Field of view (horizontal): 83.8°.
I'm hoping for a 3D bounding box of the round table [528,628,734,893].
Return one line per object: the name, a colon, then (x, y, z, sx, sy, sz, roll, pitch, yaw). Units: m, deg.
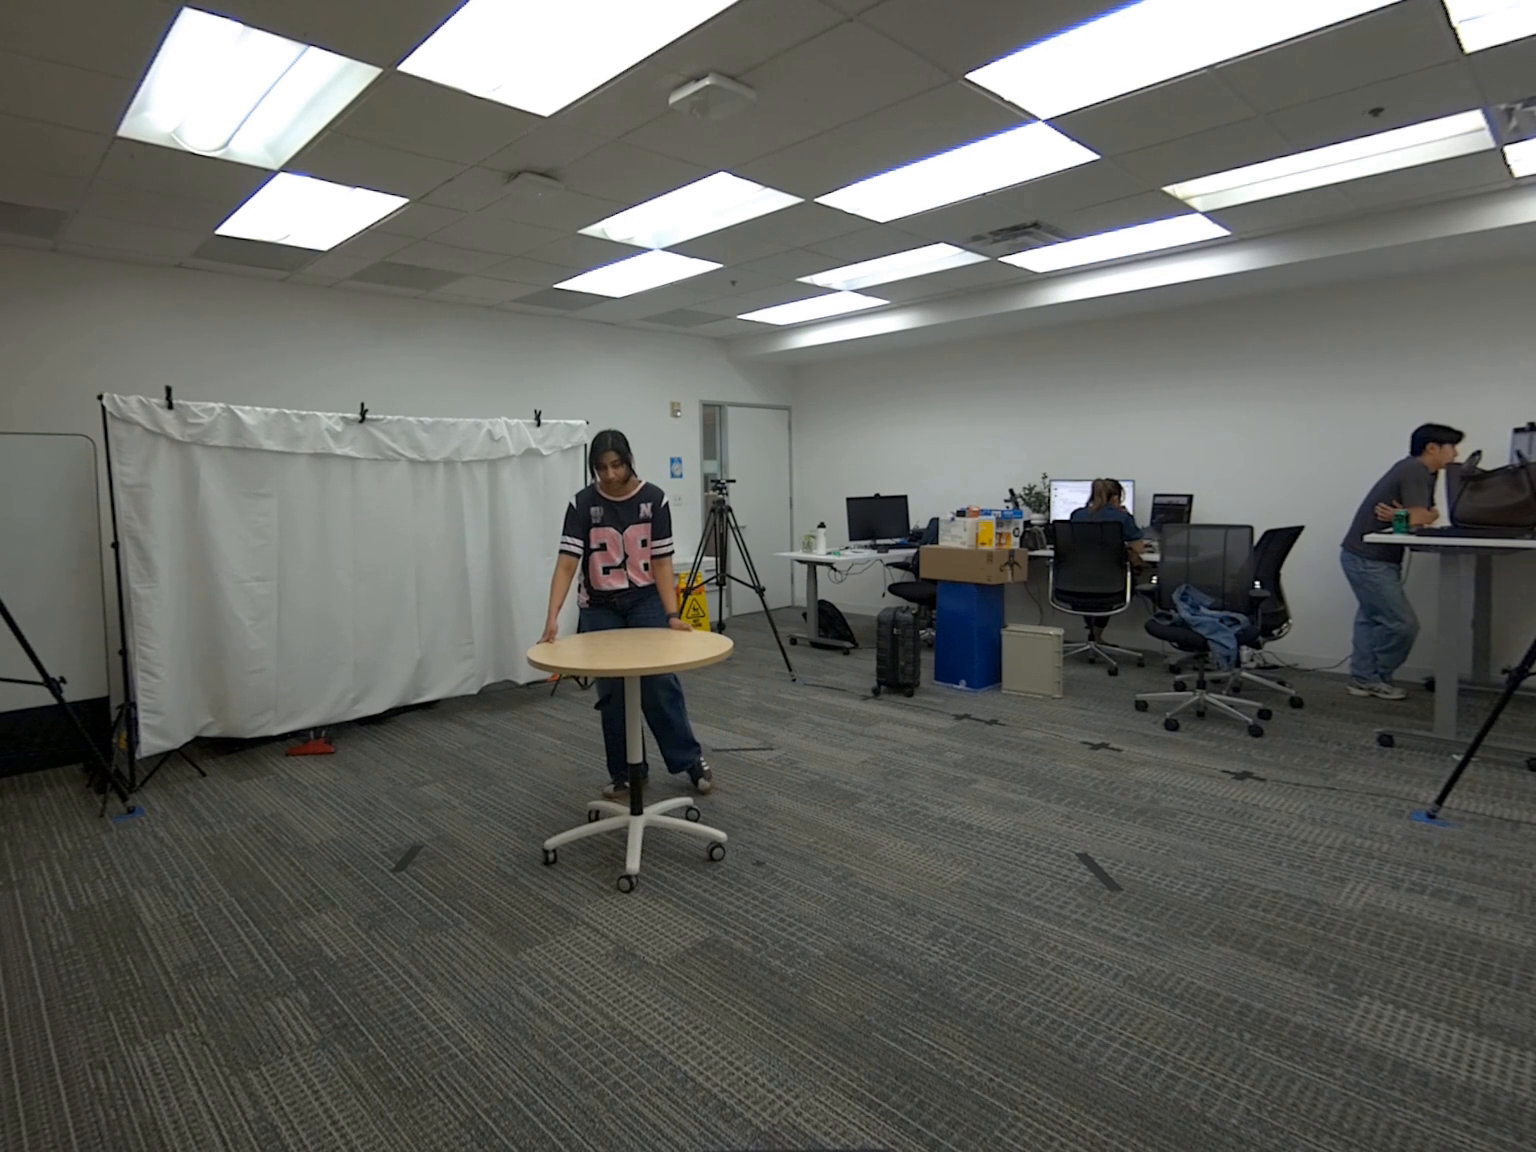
round table: (-0.491, 0.651, 3.232, 0.784, 0.783, 0.789, -2, 5, -2)
